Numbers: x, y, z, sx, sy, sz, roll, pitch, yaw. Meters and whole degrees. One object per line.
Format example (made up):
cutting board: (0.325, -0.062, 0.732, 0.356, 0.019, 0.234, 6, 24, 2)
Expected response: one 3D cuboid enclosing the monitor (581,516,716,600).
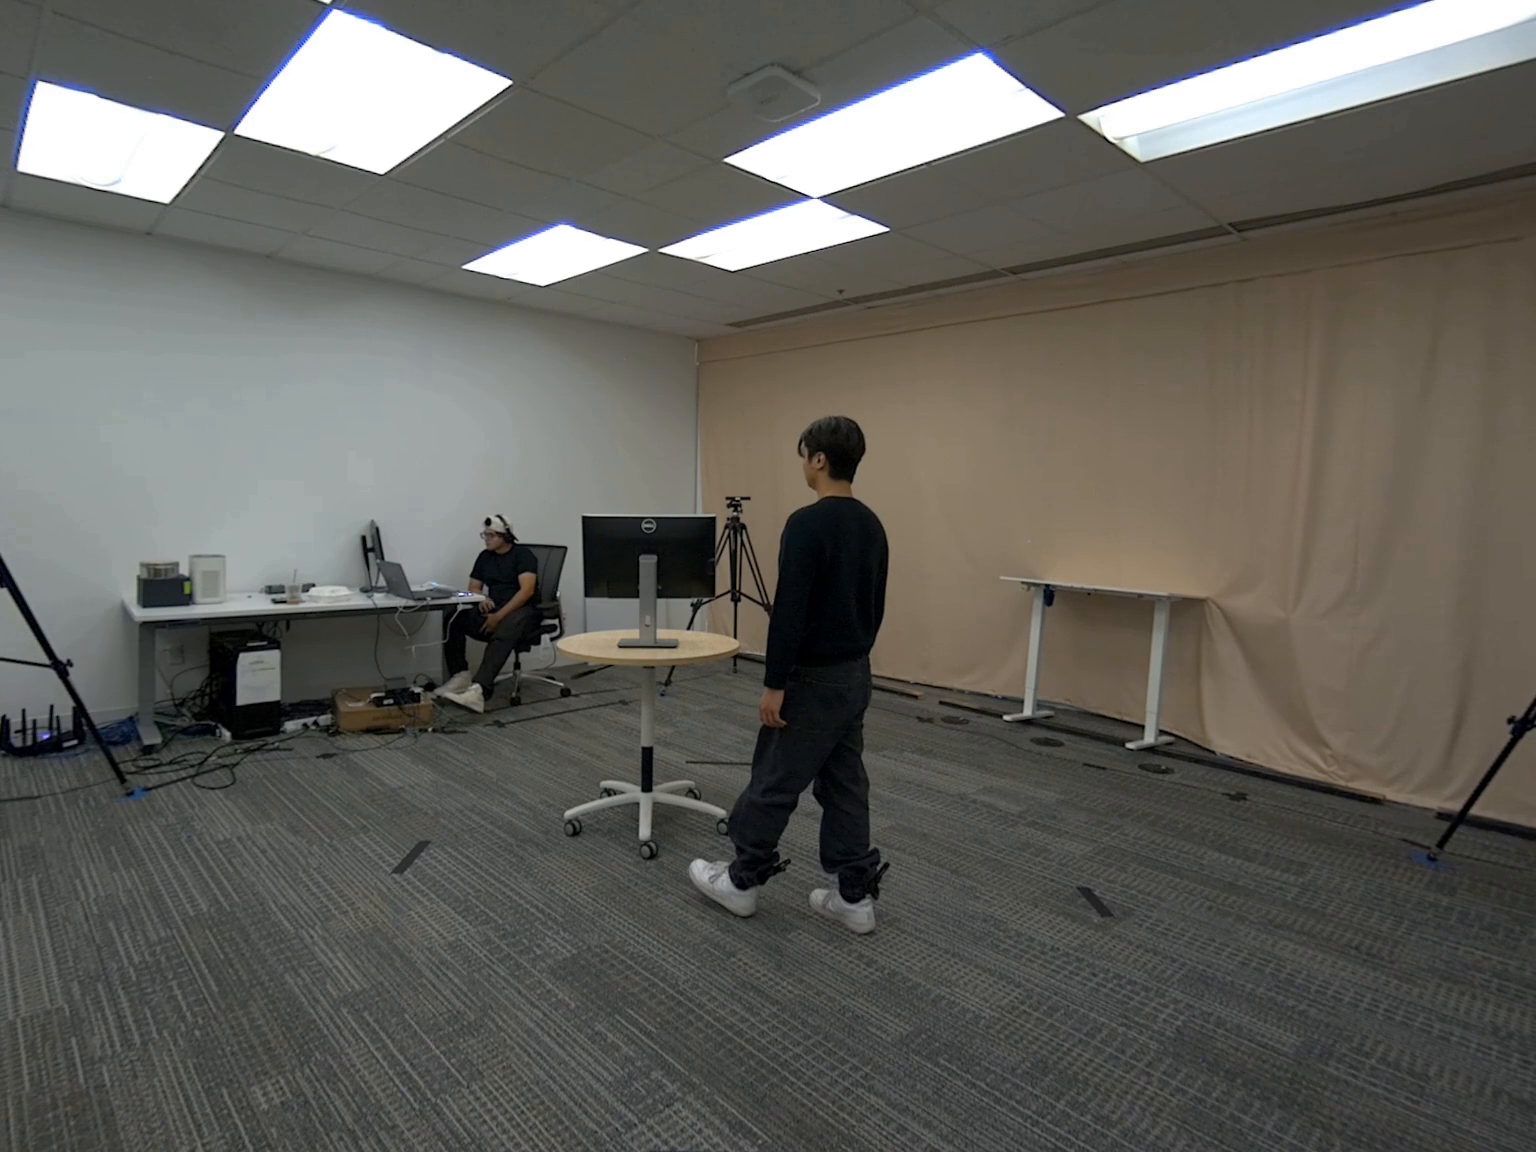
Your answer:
monitor: (-0.498, 0.017, 3.497, 0.529, 0.516, 0.175, 0, -1, -3)
